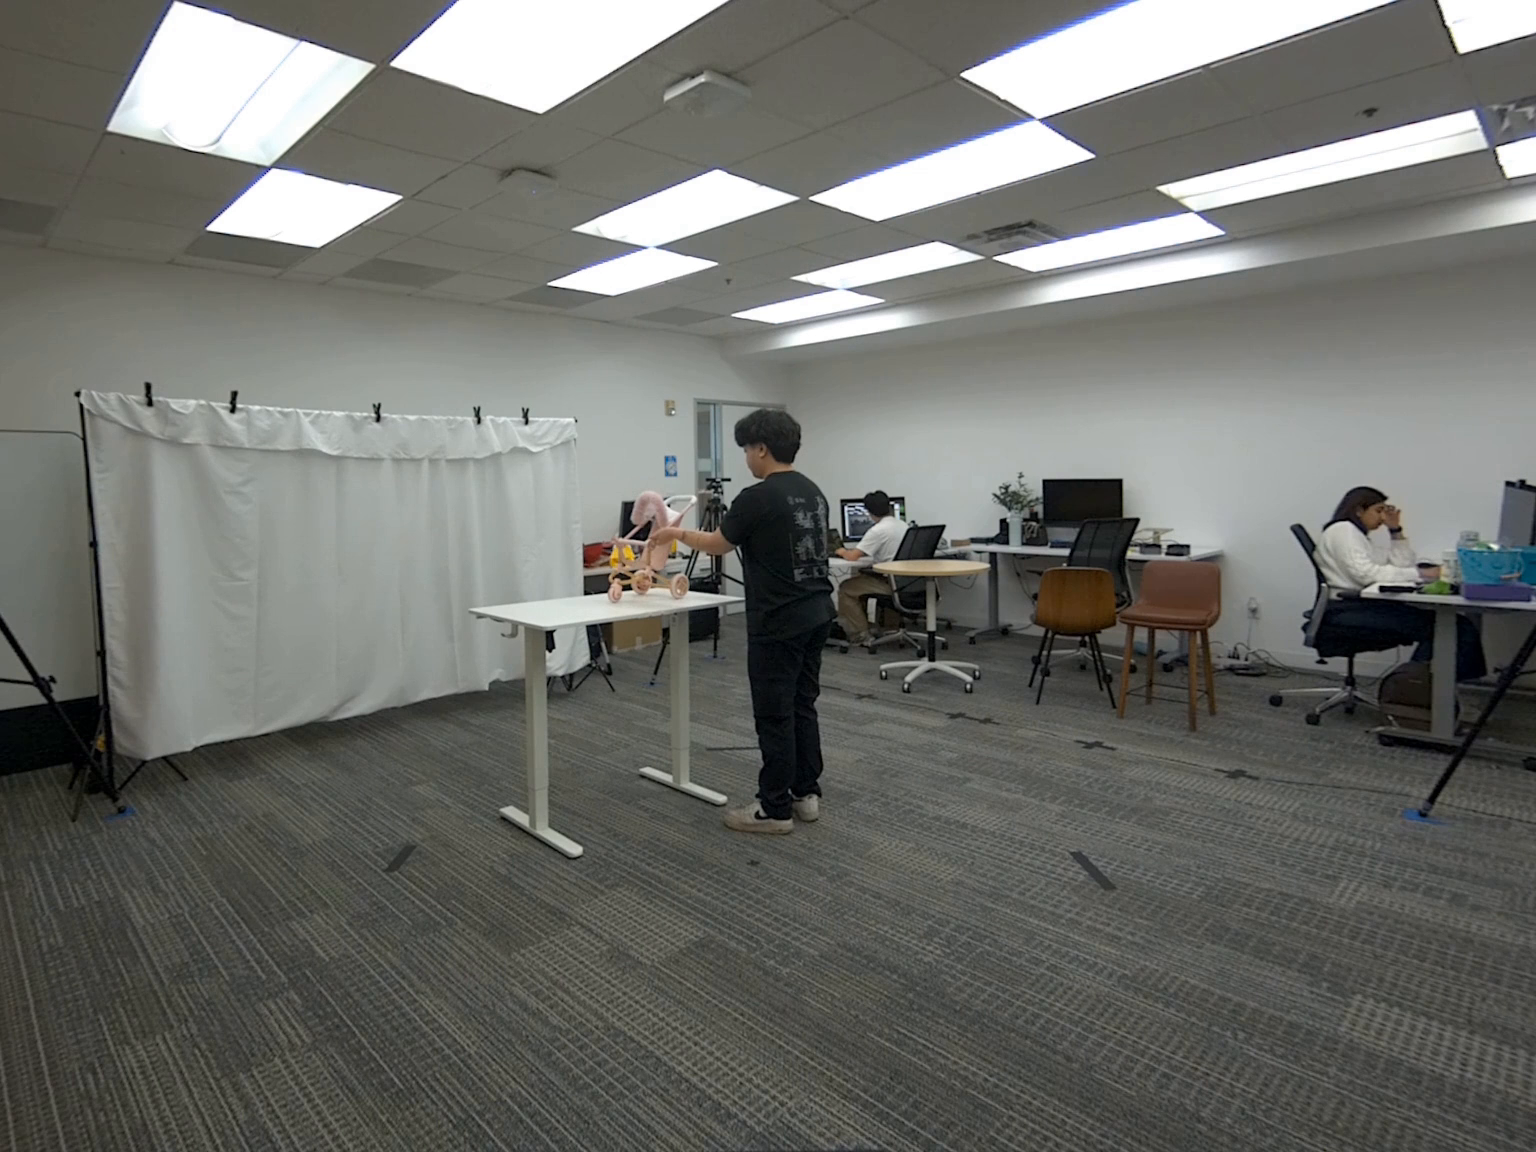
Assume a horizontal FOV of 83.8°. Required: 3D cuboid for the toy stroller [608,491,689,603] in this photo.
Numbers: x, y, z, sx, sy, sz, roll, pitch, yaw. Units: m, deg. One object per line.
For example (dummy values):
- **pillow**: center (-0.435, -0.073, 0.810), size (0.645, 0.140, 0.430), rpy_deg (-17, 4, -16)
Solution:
- **toy stroller**: center (-0.528, -0.131, 3.748), size (0.329, 0.537, 0.290), rpy_deg (15, -8, -43)
